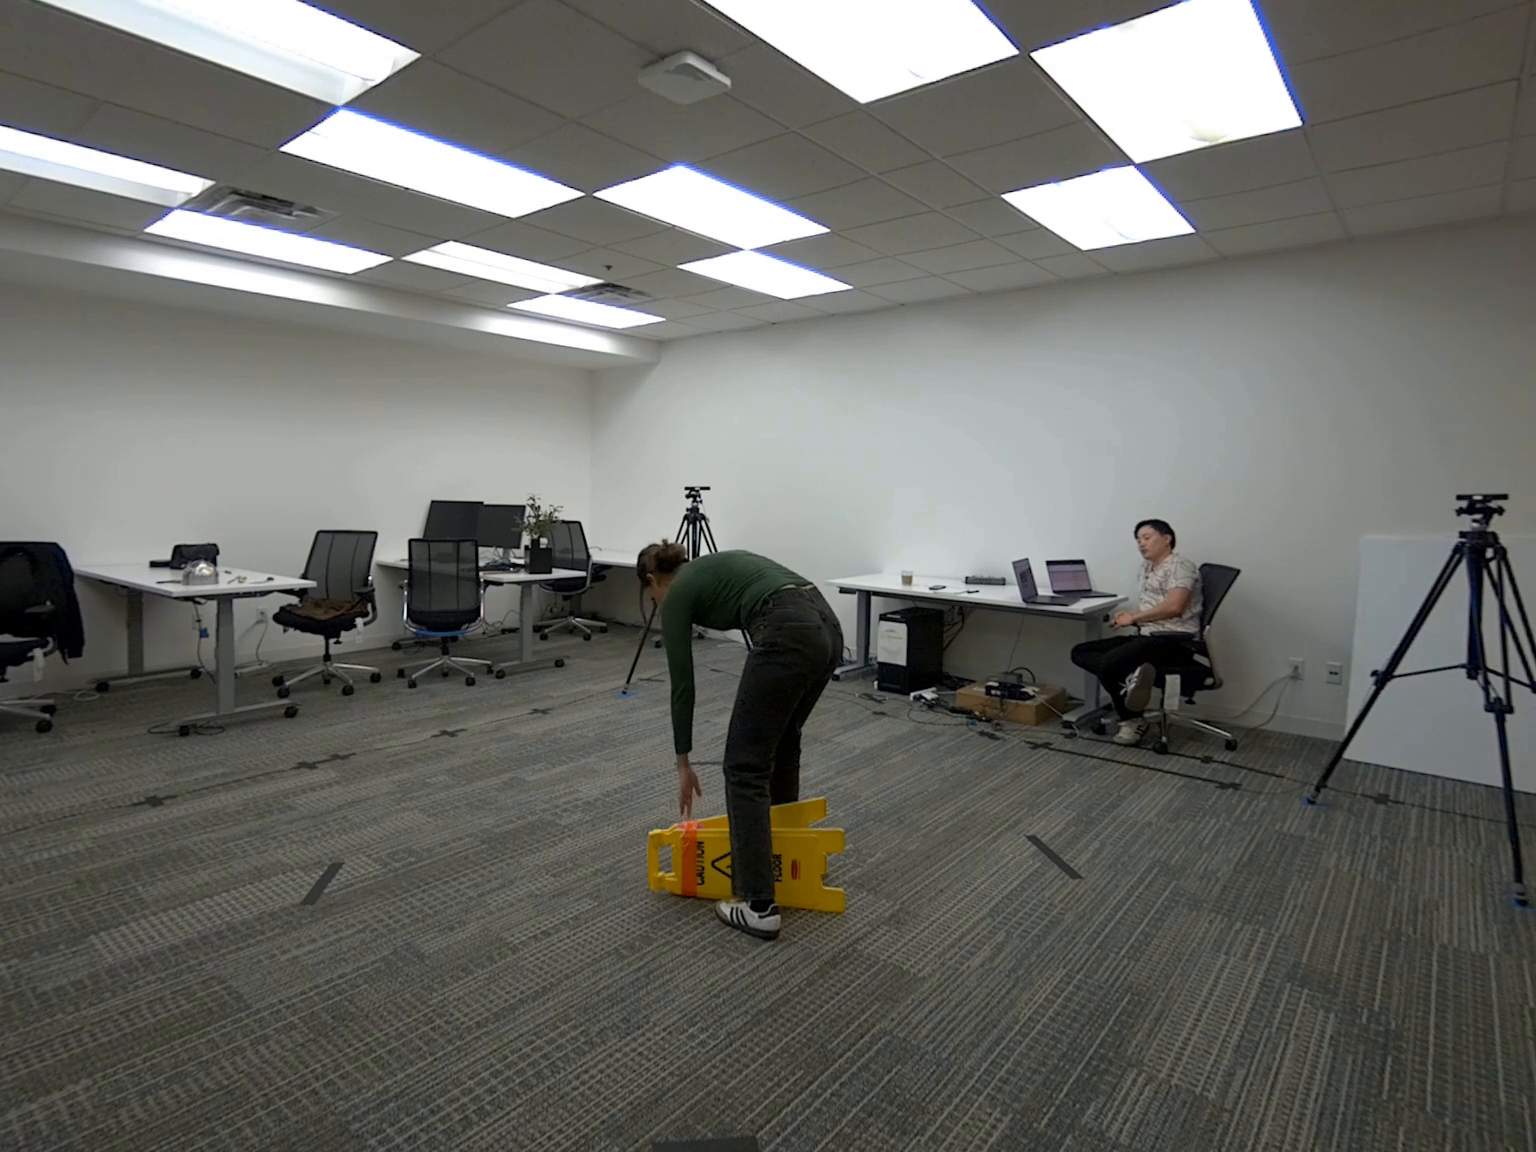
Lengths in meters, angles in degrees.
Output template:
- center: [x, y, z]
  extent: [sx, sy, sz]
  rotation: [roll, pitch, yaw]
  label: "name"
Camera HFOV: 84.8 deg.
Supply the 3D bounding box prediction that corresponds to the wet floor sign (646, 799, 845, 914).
- center: [-0.100, 0.952, 2.910]
  extent: [0.642, 0.281, 0.292]
  rotation: [-2, 5, -5]
  label: "wet floor sign"
